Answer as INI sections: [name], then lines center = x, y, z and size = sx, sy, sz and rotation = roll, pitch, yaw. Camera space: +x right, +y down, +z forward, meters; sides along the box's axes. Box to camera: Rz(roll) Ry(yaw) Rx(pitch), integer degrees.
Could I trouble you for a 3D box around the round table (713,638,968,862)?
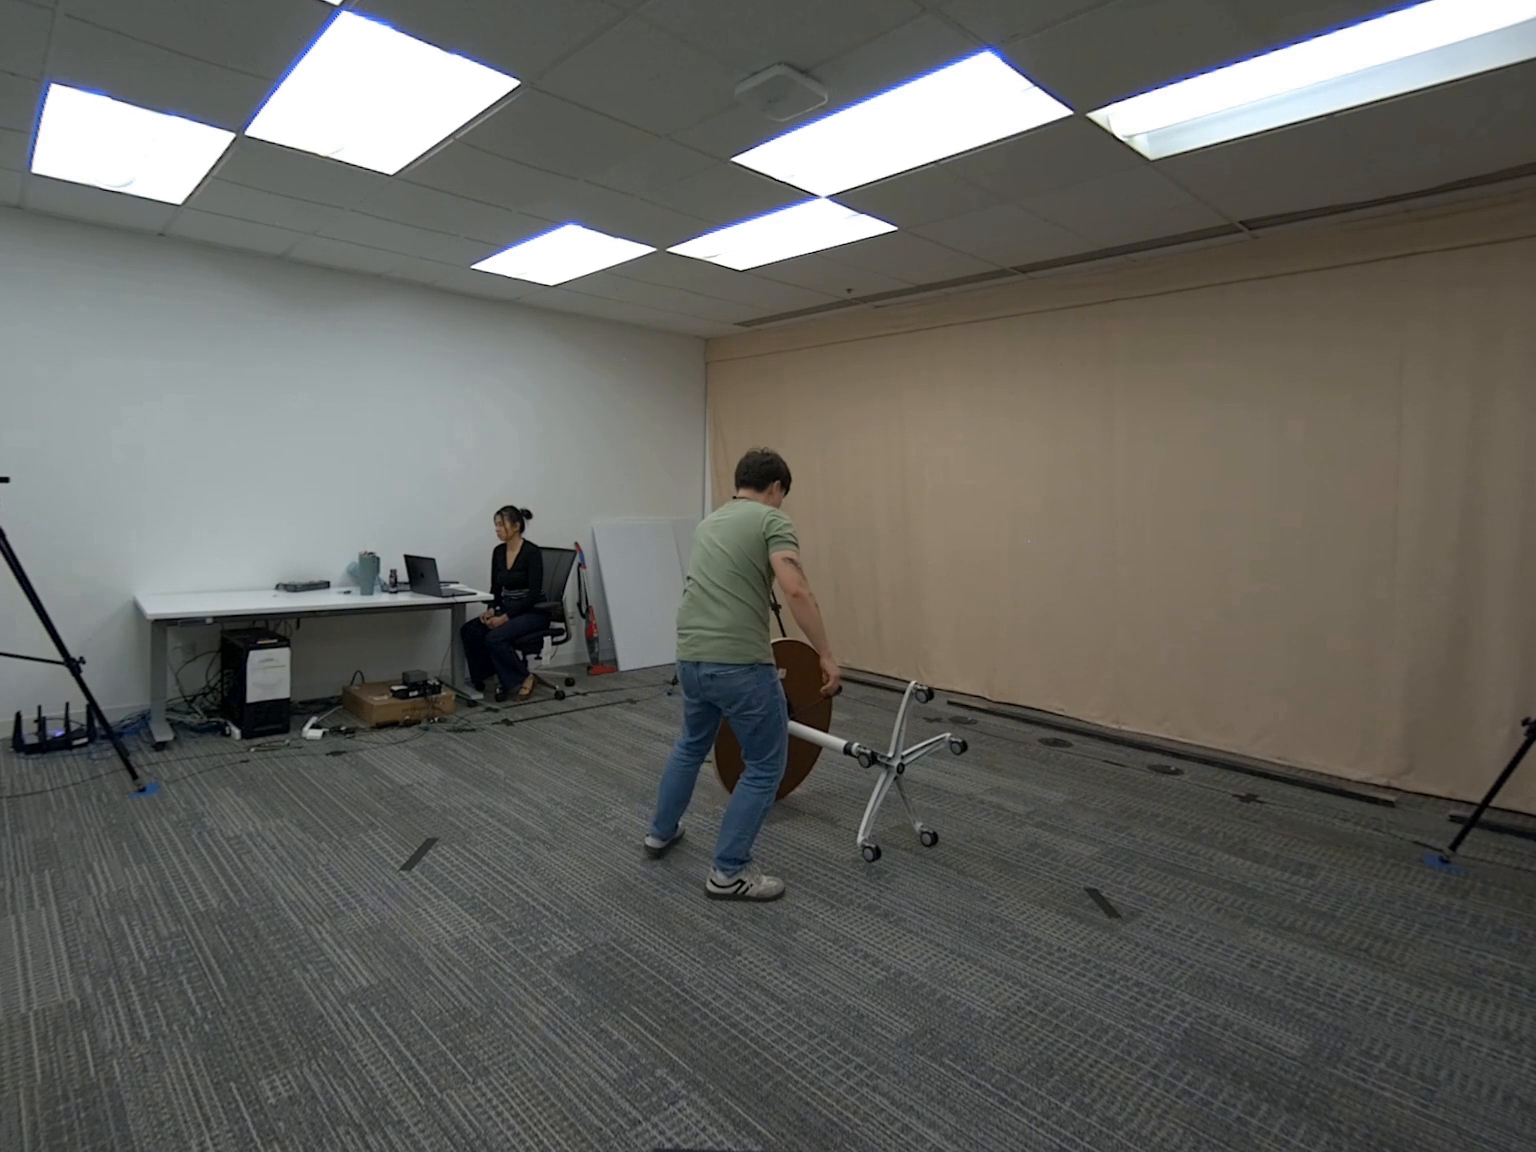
[round table]
center = 0.297, 0.722, 3.551
size = 0.746, 0.760, 0.816
rotation = -3, 10, -44
